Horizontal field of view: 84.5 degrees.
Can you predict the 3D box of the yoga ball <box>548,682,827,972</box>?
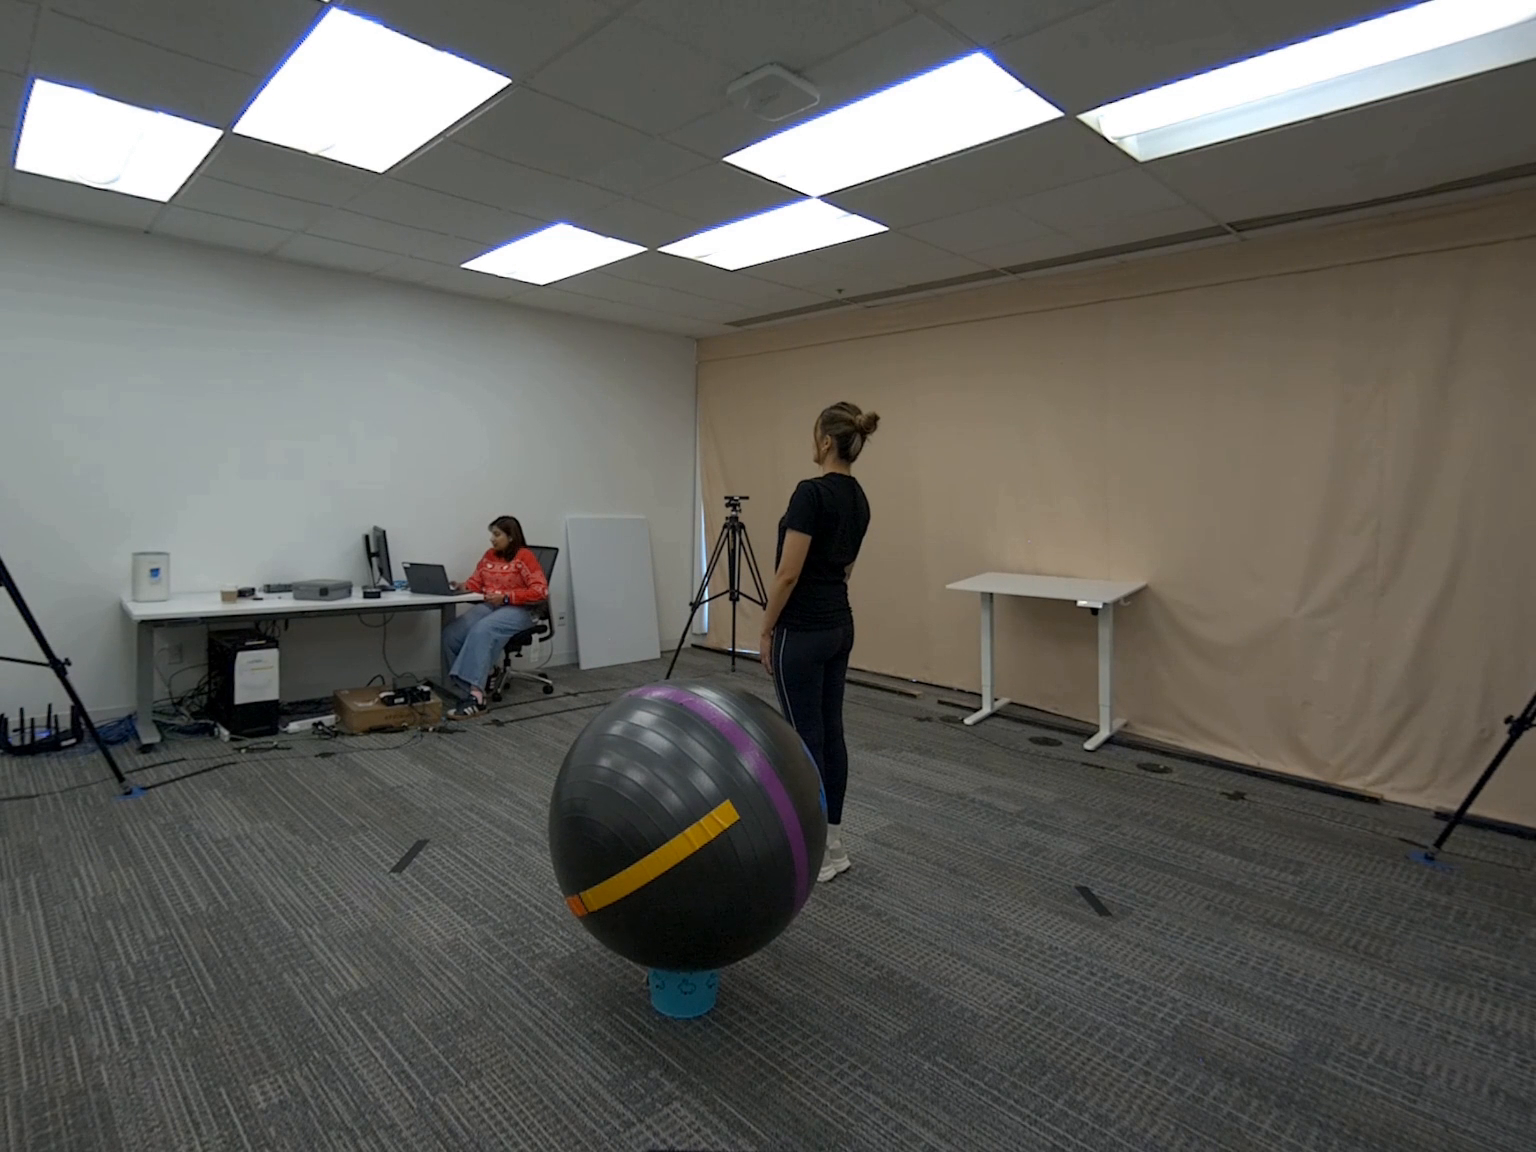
[{"bbox_3d":[-0.220,0.672,2.297,0.757,0.756,0.761,1,4,-1],"label":"yoga ball"}]
